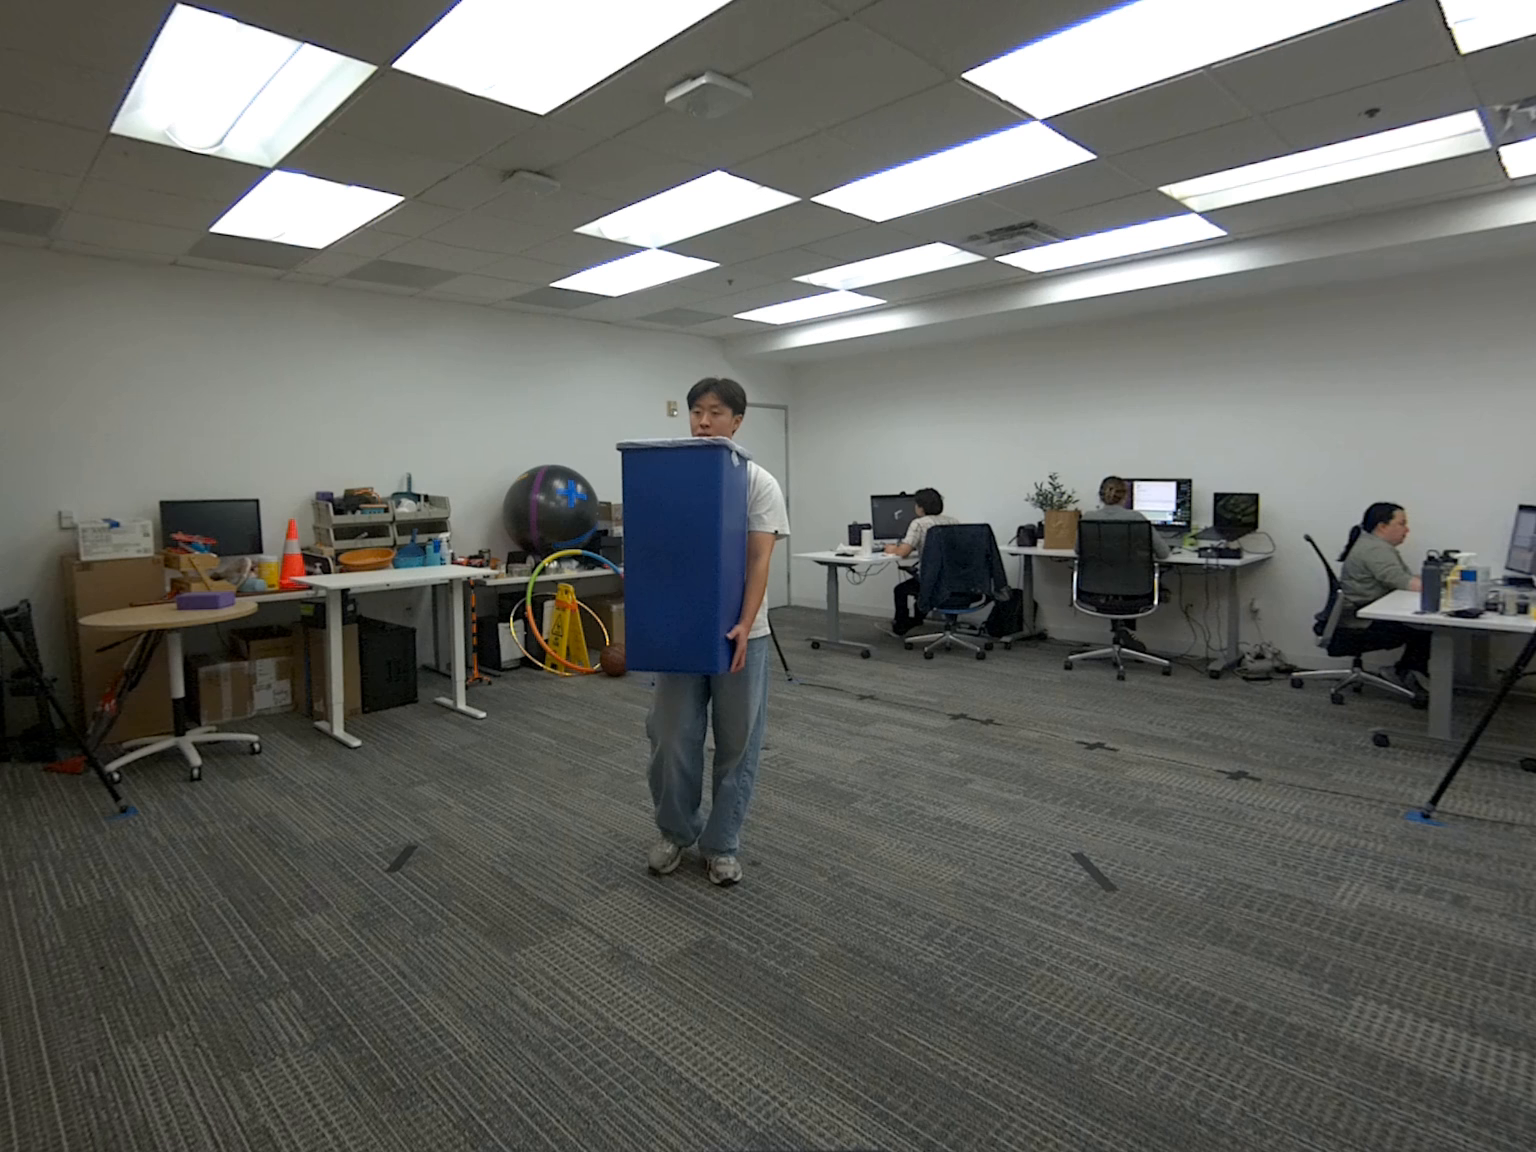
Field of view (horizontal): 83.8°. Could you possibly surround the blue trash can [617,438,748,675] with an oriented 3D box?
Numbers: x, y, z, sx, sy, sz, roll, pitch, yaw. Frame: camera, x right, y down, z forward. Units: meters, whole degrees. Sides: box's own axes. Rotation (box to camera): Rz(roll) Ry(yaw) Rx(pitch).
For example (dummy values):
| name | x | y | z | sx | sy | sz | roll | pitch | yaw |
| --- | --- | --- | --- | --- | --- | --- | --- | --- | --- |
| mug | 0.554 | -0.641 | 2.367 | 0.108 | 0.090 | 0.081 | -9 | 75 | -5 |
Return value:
| name | x | y | z | sx | sy | sz | roll | pitch | yaw |
| --- | --- | --- | --- | --- | --- | --- | --- | --- | --- |
| blue trash can | -0.271 | -0.061 | 2.756 | 0.380 | 0.716 | 0.371 | 1 | -4 | 14 |
